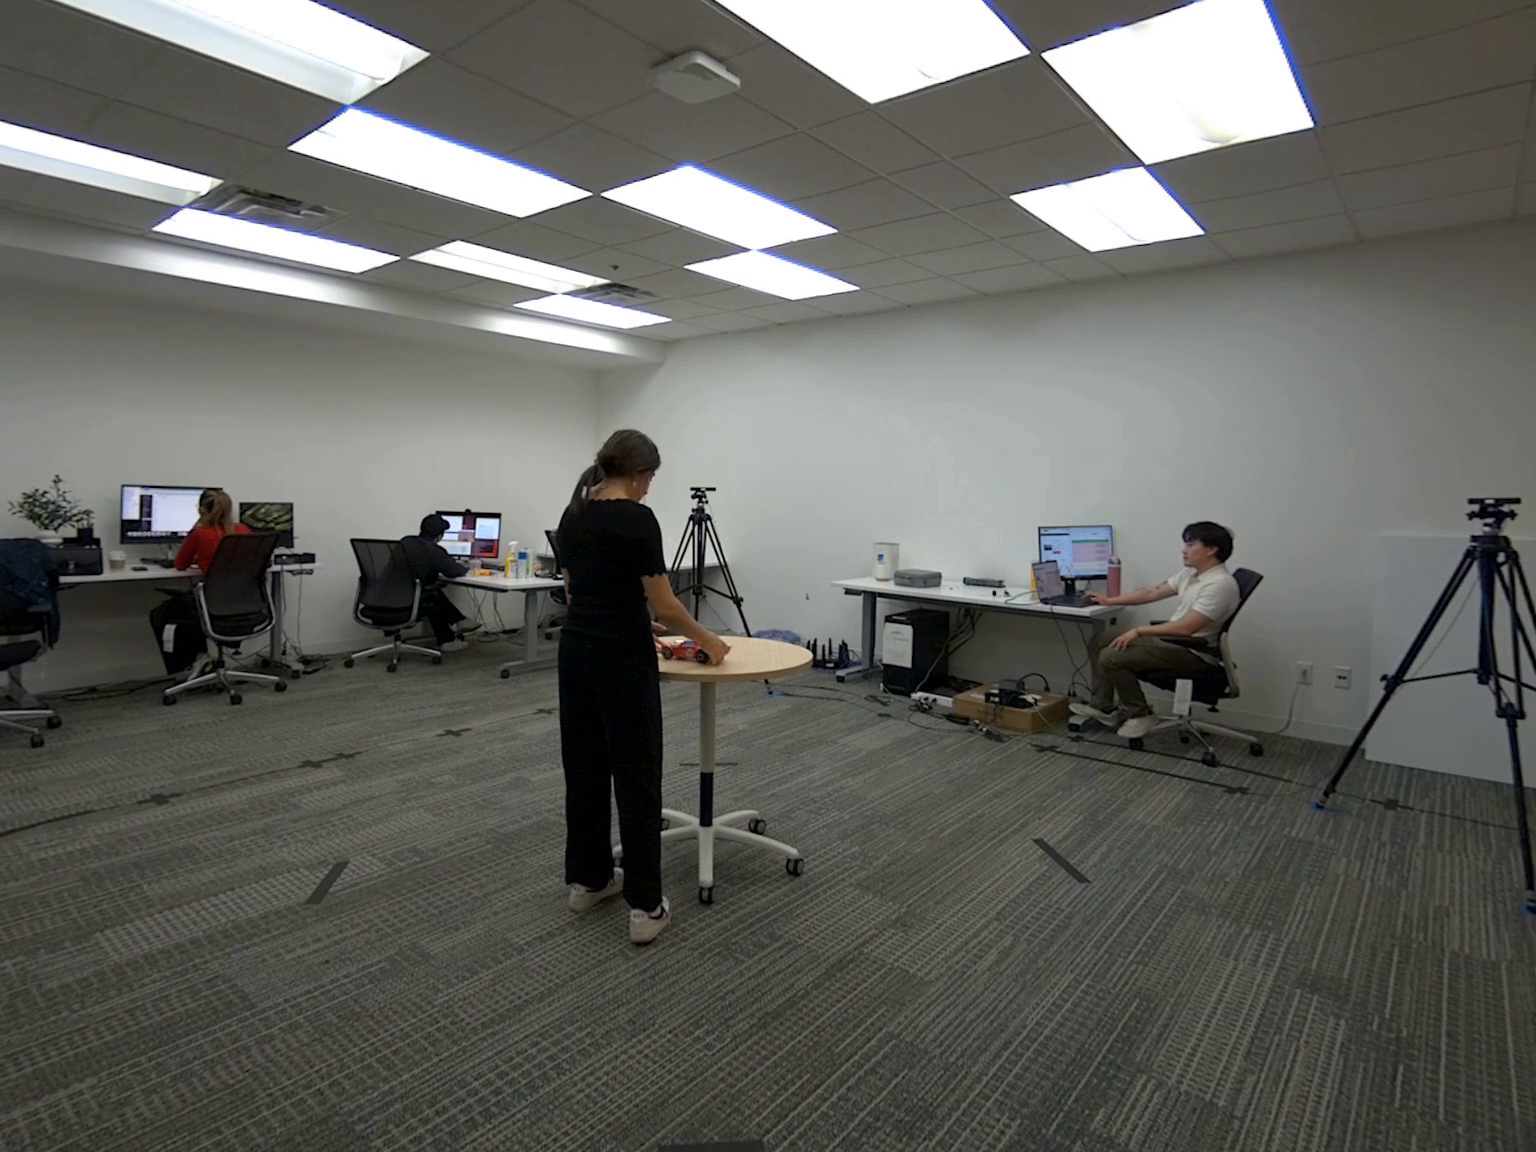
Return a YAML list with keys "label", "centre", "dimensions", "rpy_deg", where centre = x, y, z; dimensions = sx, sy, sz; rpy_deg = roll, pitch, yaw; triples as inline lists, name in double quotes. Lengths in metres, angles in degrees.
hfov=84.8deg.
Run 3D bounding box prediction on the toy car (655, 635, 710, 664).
- label: "toy car"
  centre: [-0.263, 0.262, 2.992]
  dimensions: [0.260, 0.083, 0.127]
  rpy_deg: [-9, -2, 29]
